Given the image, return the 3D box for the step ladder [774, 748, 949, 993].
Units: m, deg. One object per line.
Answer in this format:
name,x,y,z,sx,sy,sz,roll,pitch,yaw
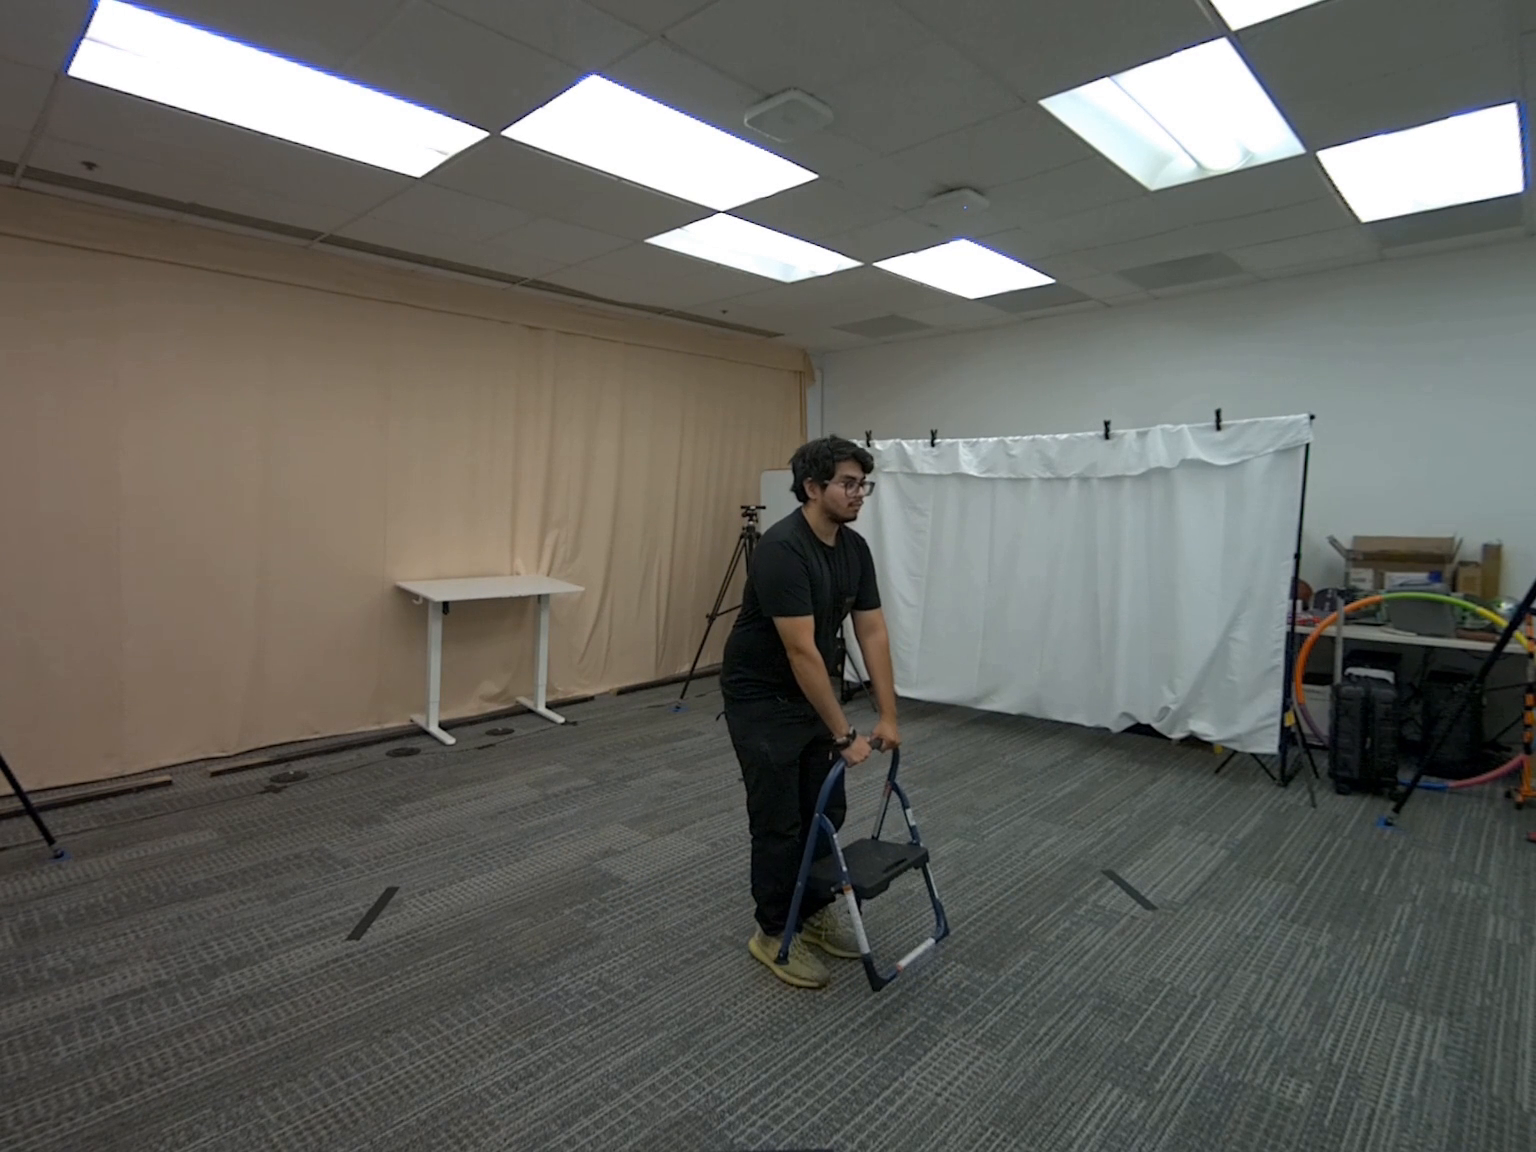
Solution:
step ladder,0.270,0.790,2.457,0.360,0.606,0.418,-6,-1,39
